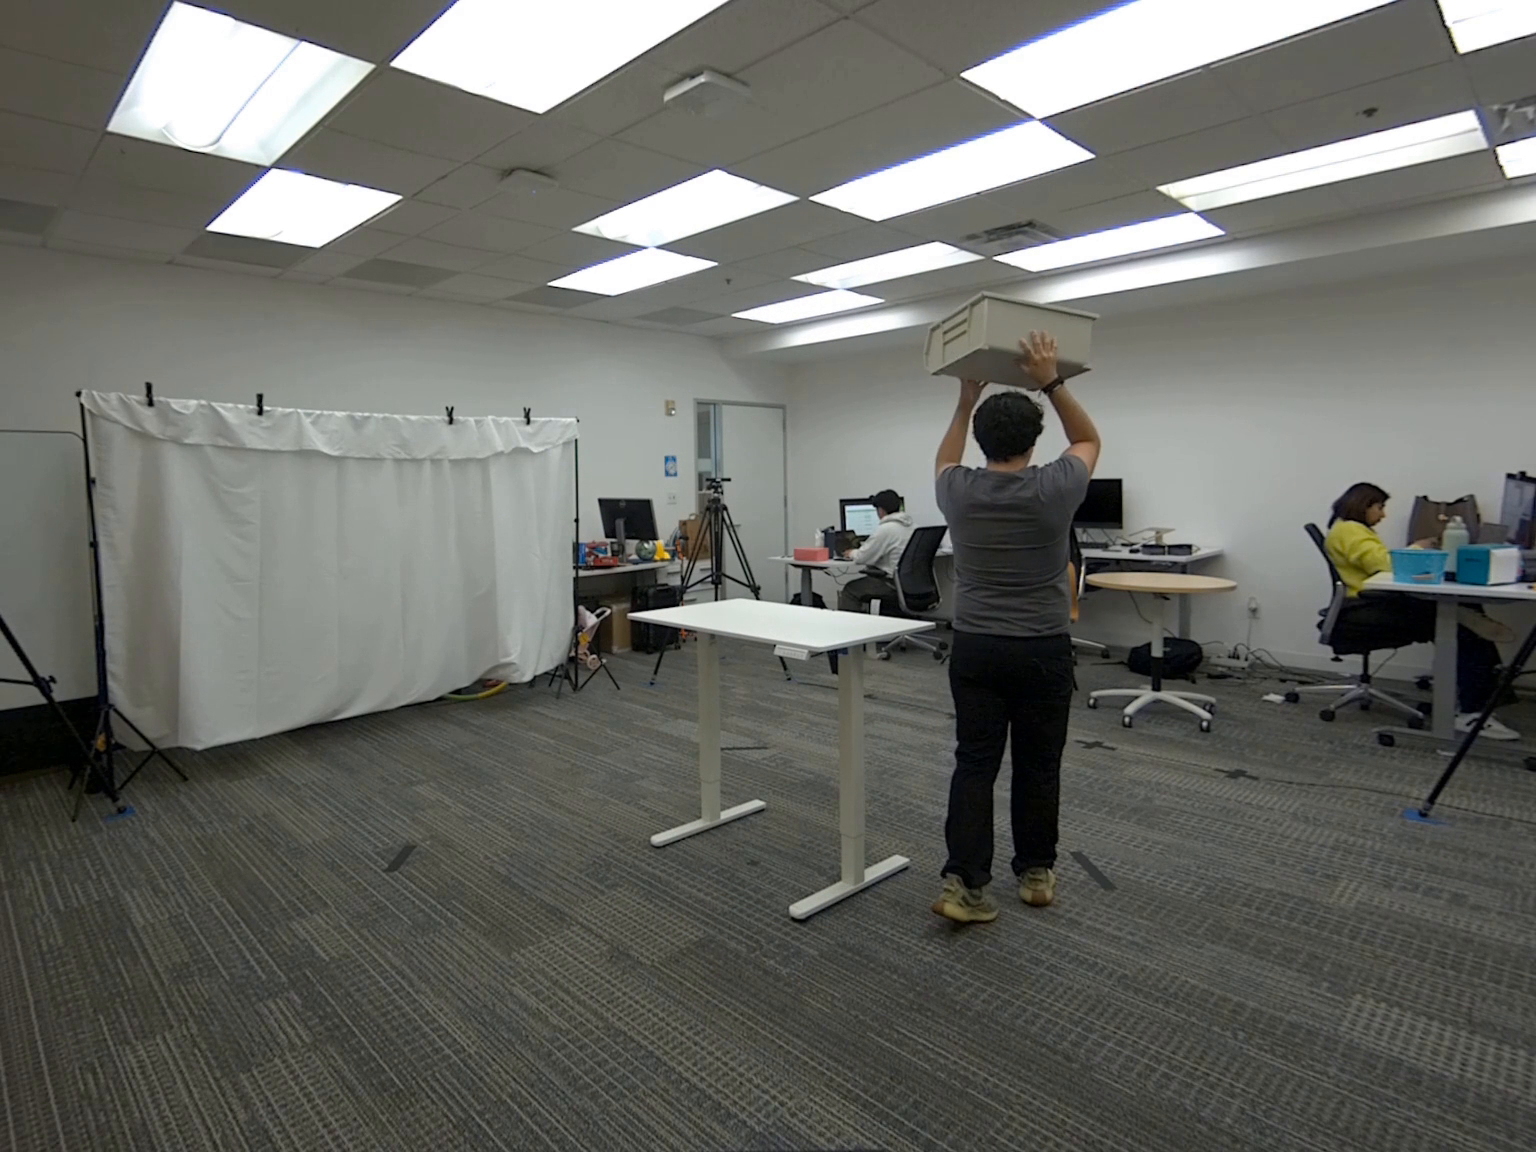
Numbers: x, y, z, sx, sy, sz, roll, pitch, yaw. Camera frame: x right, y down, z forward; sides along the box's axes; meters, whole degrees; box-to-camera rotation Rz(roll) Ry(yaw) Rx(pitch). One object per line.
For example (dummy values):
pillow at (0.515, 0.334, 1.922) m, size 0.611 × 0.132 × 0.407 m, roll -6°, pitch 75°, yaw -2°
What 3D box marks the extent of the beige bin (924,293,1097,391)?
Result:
beige bin at (0.804, -0.768, 2.869) m, size 0.415 × 0.190 × 0.382 m, roll 7°, pitch -3°, yaw -16°
